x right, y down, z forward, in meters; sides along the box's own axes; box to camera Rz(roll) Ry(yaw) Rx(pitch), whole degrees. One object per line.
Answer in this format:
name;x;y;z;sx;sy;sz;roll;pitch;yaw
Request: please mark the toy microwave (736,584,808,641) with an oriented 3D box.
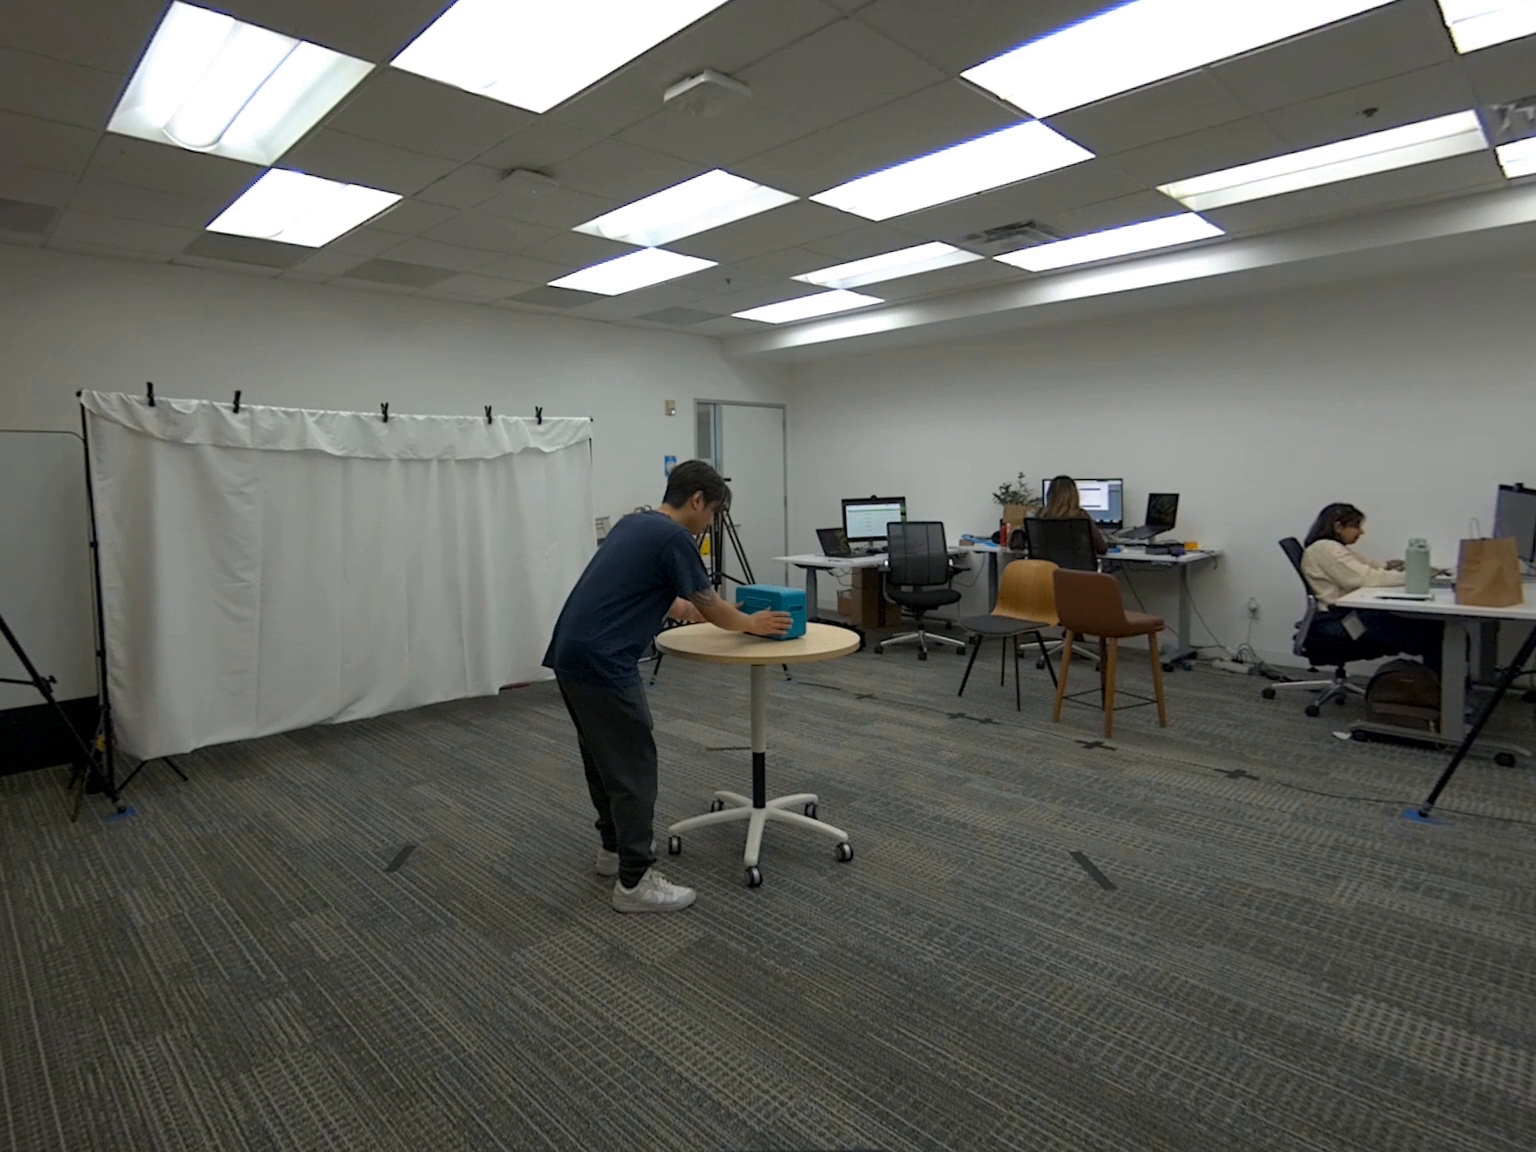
toy microwave;0.015;0.134;3.259;0.148;0.183;0.295;-3;6;-38
